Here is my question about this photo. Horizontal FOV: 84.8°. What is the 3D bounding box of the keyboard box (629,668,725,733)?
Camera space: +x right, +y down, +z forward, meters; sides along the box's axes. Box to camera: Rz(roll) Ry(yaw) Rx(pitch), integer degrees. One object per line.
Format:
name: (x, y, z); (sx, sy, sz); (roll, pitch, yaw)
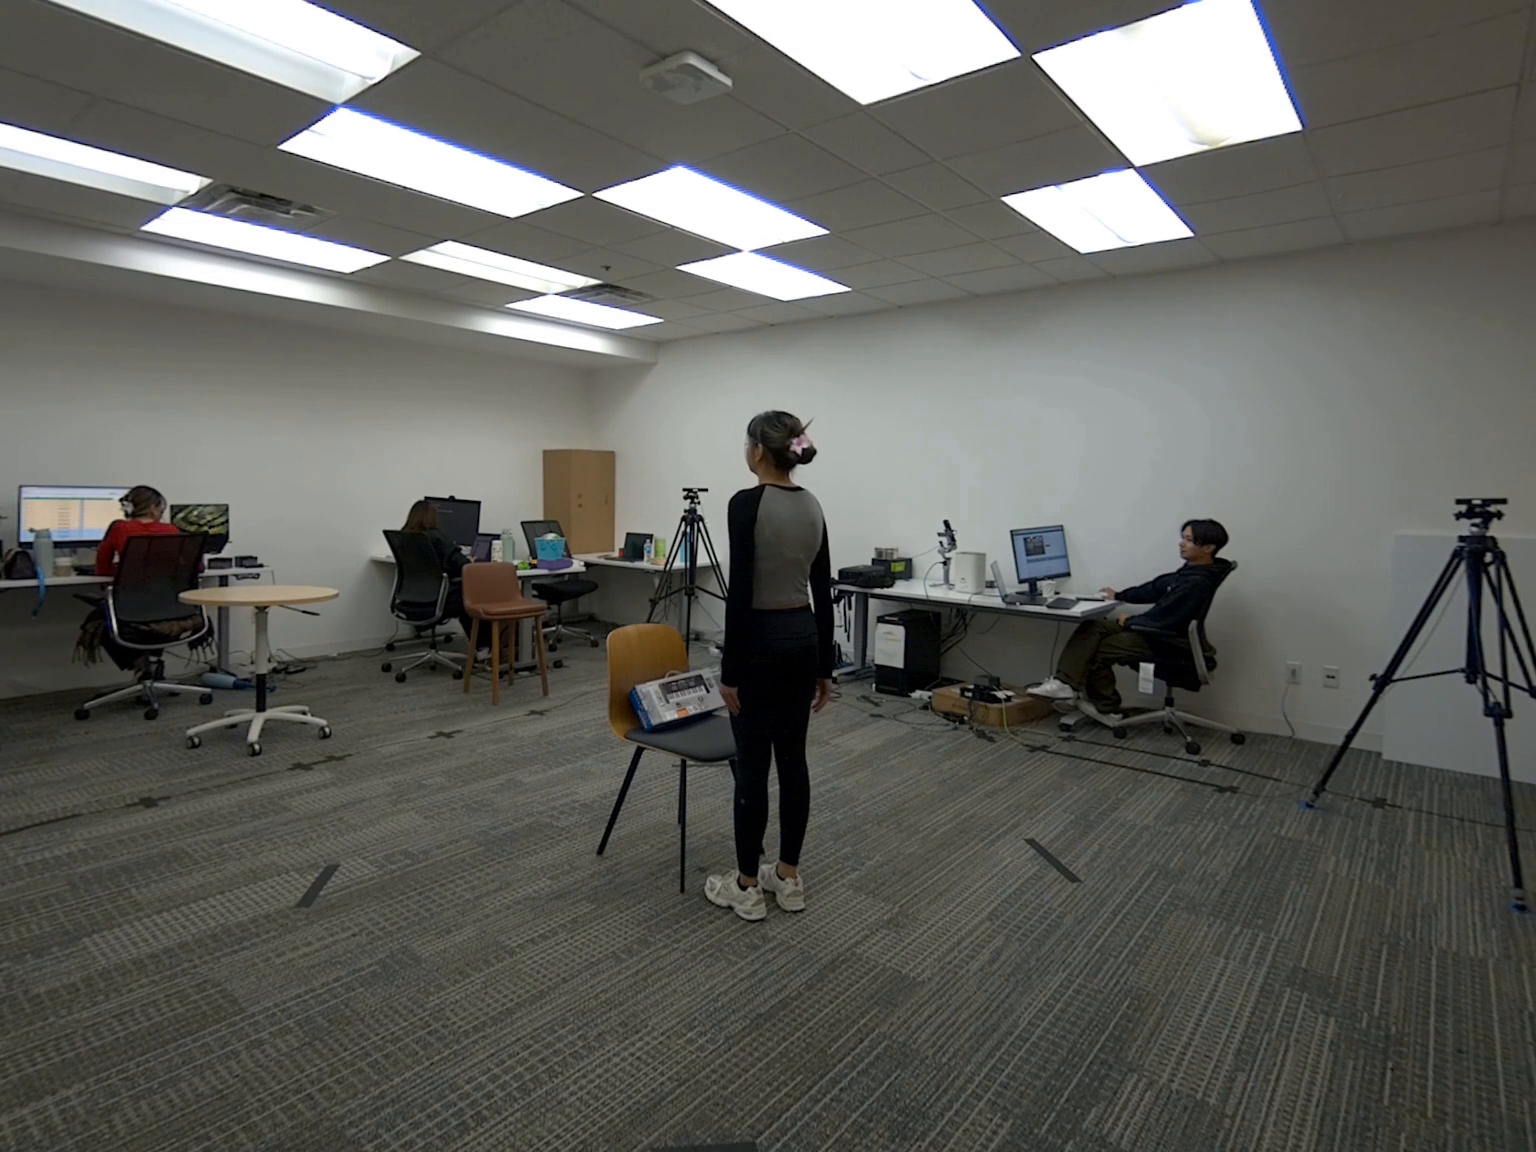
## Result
keyboard box: (-0.340, 0.484, 3.347); (0.425, 0.181, 0.059); (-9, -30, -43)
